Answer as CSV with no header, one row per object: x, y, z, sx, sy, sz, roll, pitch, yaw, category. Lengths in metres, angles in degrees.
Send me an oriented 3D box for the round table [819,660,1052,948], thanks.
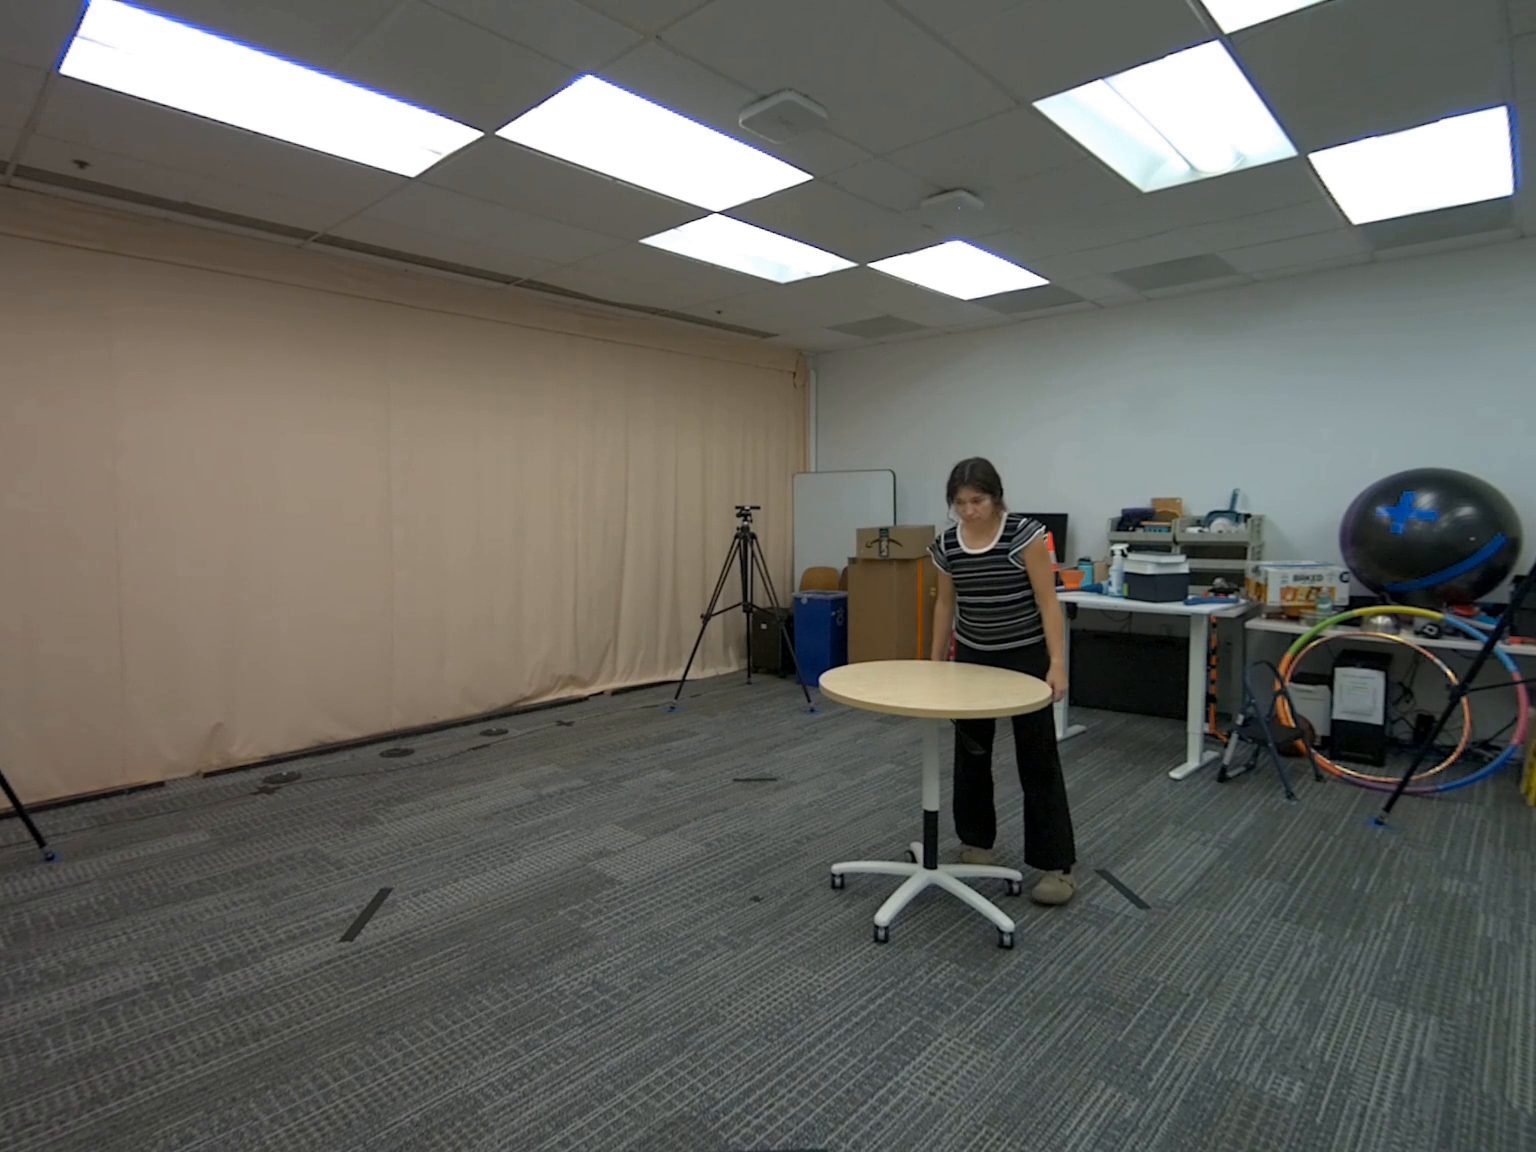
0.559,0.758,2.905,0.763,0.792,0.767,0,4,-2,round table
